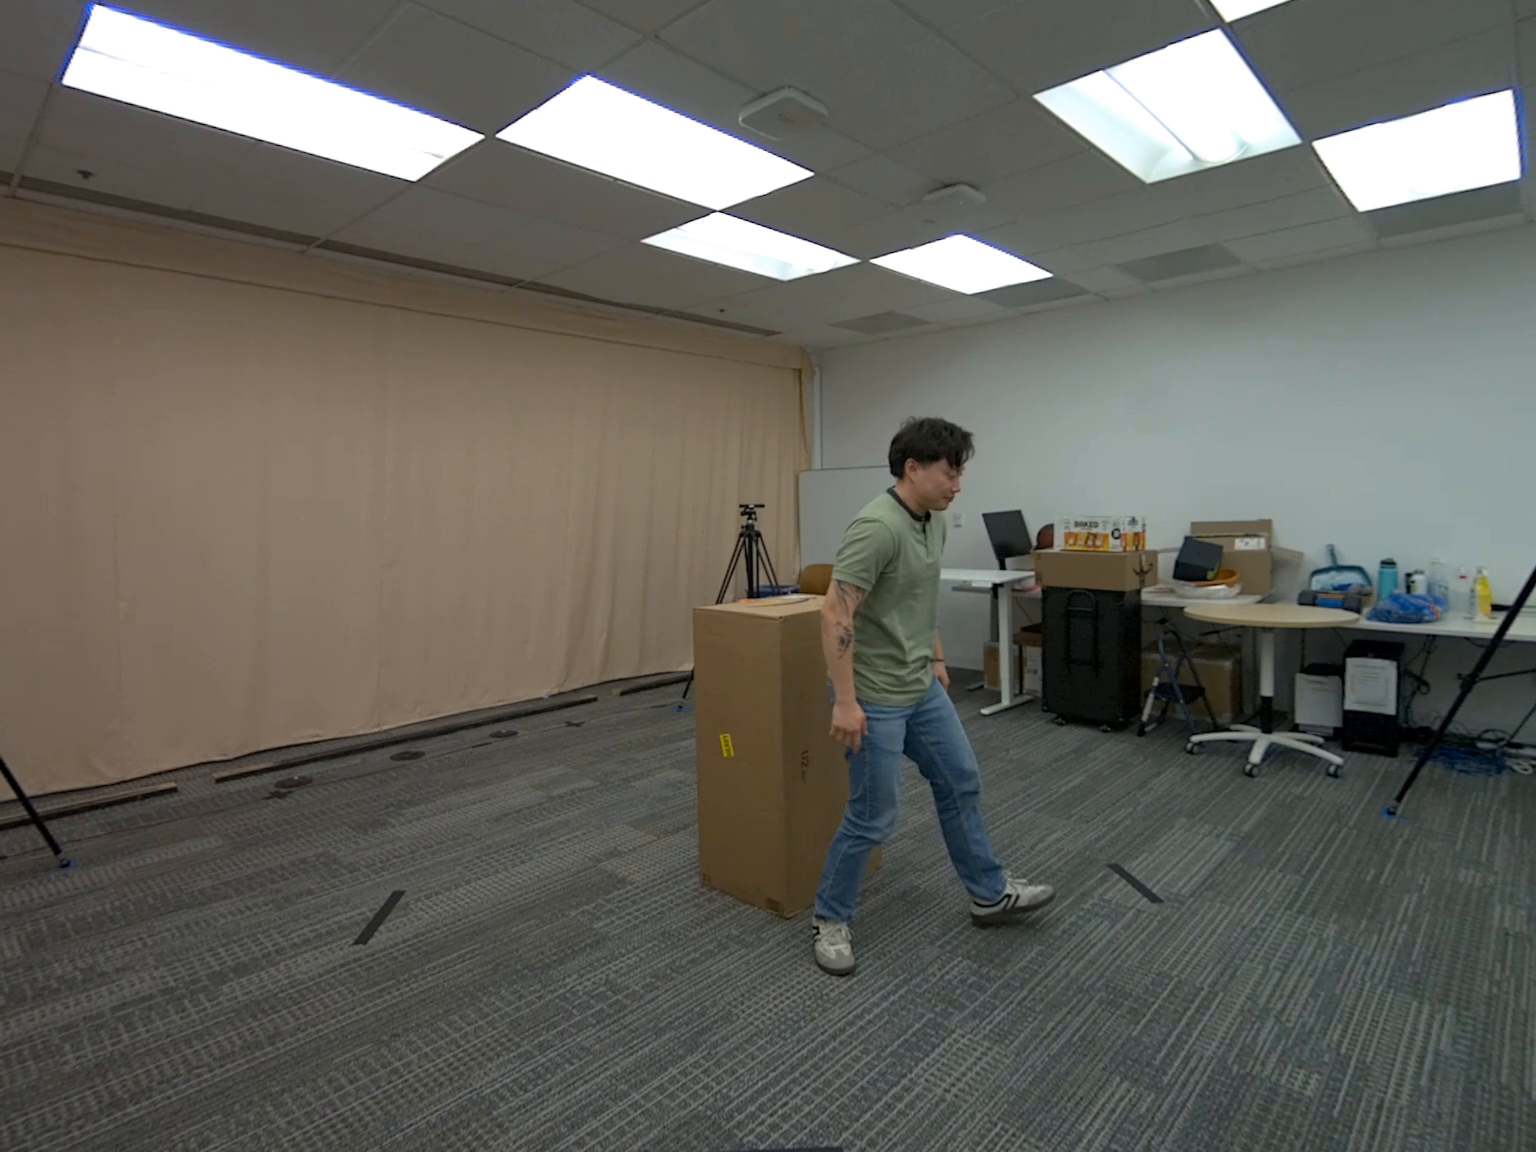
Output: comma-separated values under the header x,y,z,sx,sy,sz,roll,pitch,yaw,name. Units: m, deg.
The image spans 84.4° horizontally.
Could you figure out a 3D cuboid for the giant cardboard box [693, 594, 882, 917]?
x,y,z,sx,sy,sz,roll,pitch,yaw,name
0.076,0.613,3.143,0.440,1.024,0.560,2,4,43,giant cardboard box
